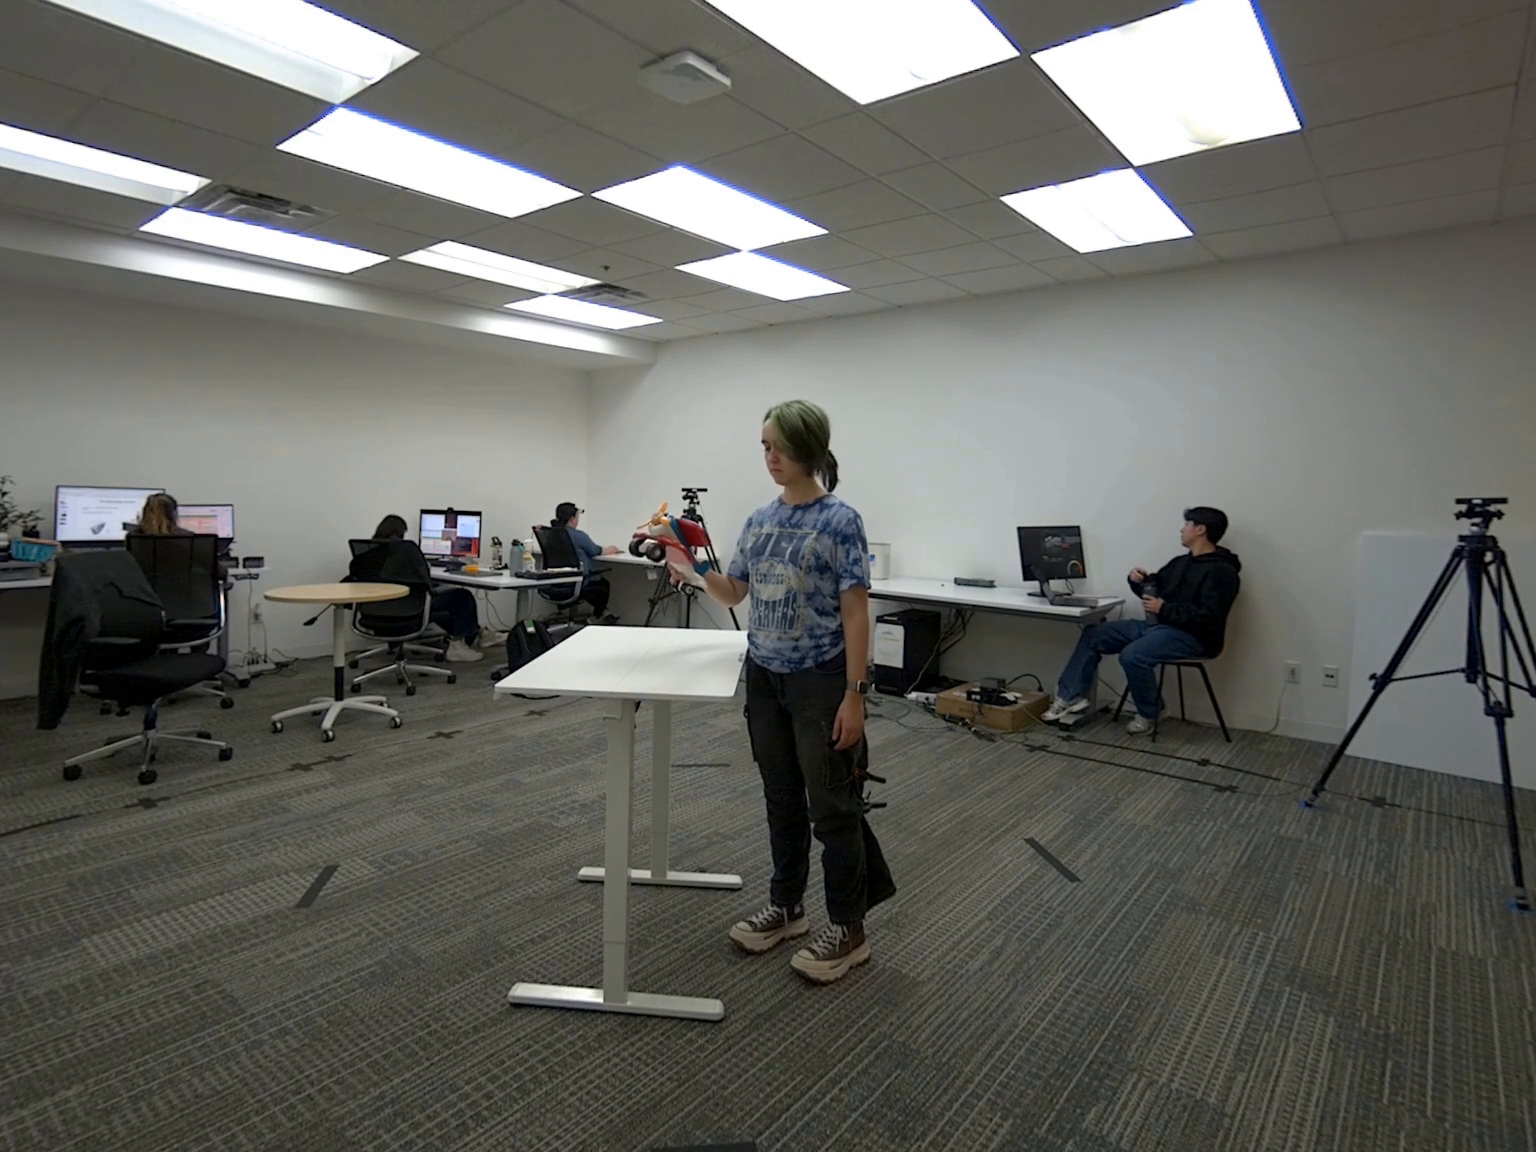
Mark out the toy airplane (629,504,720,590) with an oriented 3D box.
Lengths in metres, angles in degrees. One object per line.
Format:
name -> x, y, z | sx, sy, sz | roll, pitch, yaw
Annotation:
toy airplane -> -0.291, -0.071, 2.450 | 0.259, 0.157, 0.250 | 26, -17, 23
